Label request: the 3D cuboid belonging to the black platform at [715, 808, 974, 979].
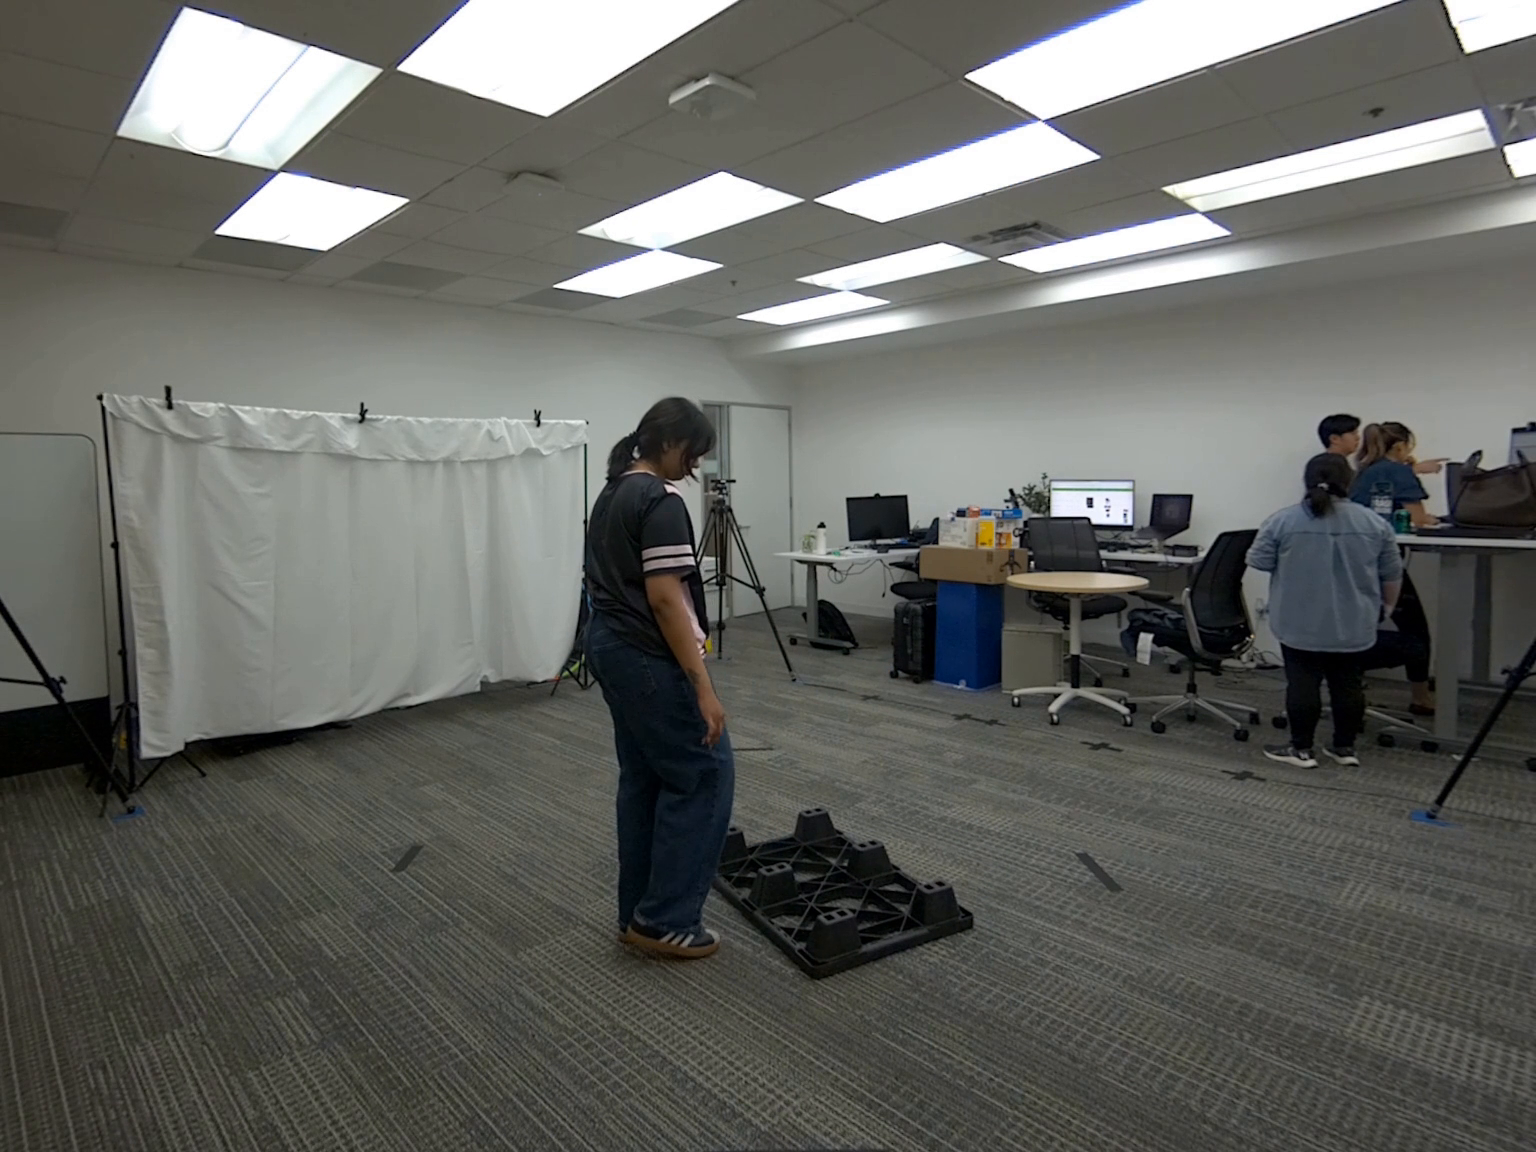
[{"bbox_3d":[0.182,1.005,2.864,0.591,0.143,0.828,-4,7,-29],"label":"black platform"}]
